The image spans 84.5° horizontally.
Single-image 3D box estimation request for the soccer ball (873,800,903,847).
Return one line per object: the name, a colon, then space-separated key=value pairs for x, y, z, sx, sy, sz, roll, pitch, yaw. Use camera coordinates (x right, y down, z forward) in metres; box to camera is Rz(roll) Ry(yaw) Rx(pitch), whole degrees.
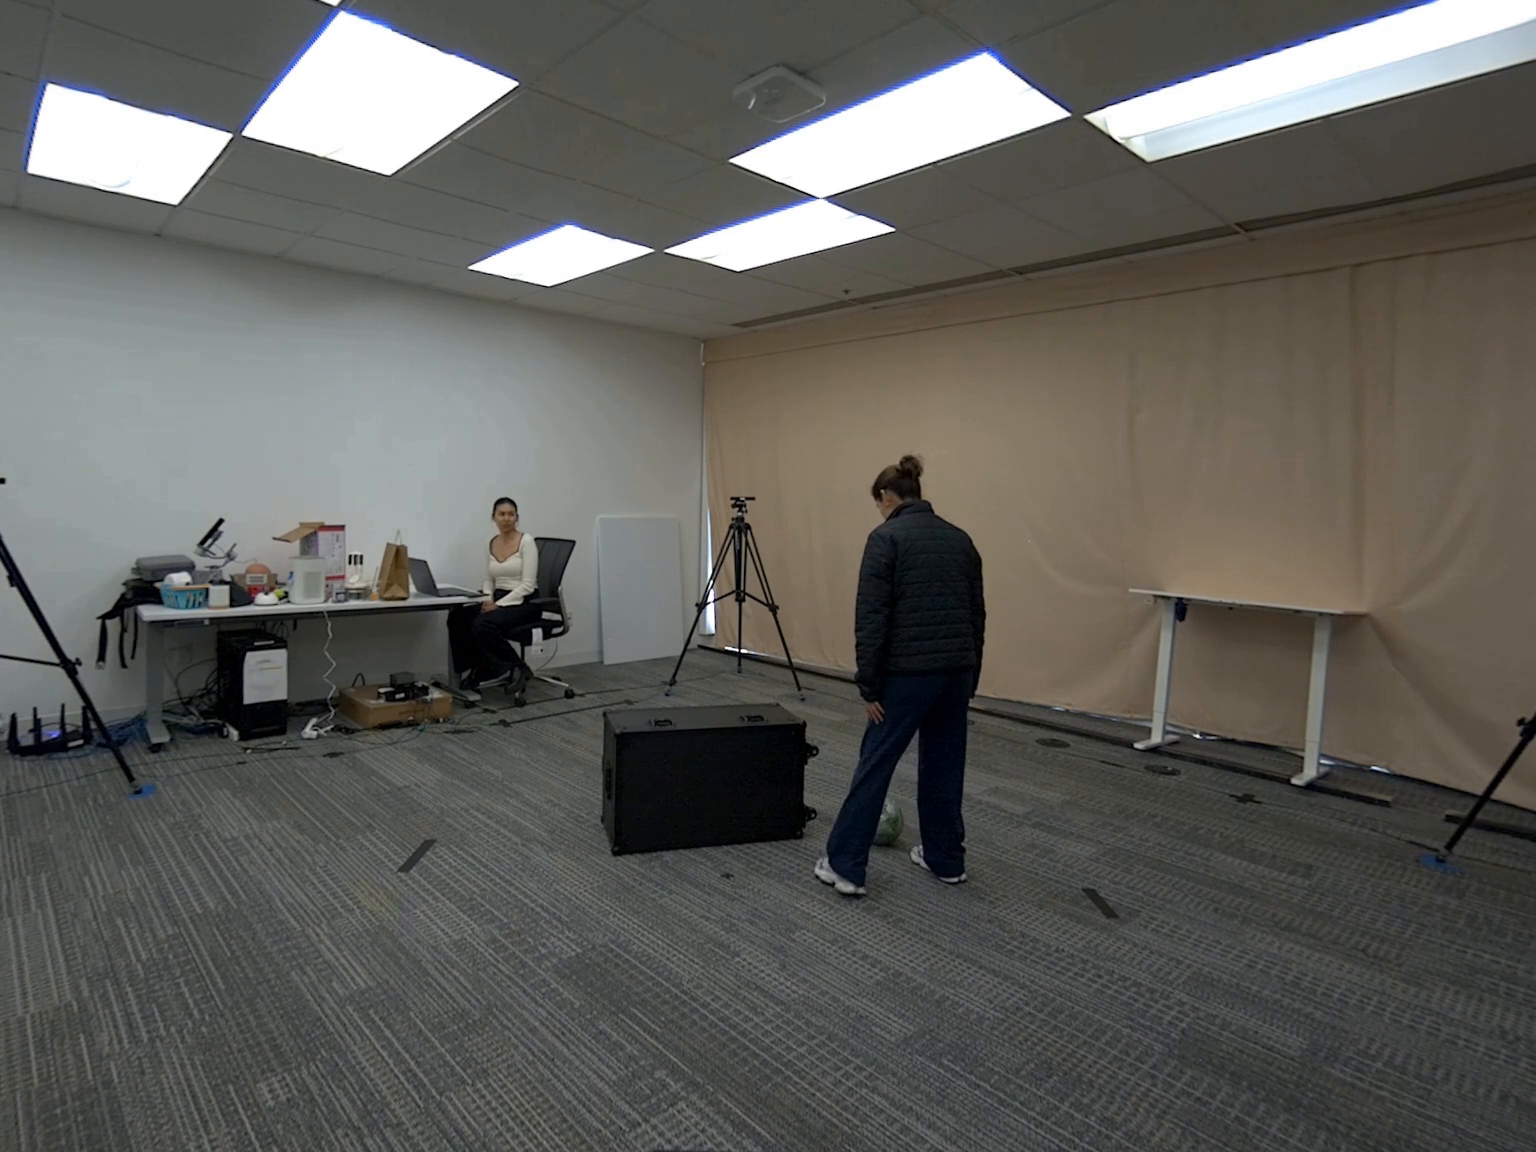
soccer ball: x=0.451 y=1.002 z=3.448 sx=0.187 sy=0.187 sz=0.188 roll=1 pitch=4 yaw=-1
